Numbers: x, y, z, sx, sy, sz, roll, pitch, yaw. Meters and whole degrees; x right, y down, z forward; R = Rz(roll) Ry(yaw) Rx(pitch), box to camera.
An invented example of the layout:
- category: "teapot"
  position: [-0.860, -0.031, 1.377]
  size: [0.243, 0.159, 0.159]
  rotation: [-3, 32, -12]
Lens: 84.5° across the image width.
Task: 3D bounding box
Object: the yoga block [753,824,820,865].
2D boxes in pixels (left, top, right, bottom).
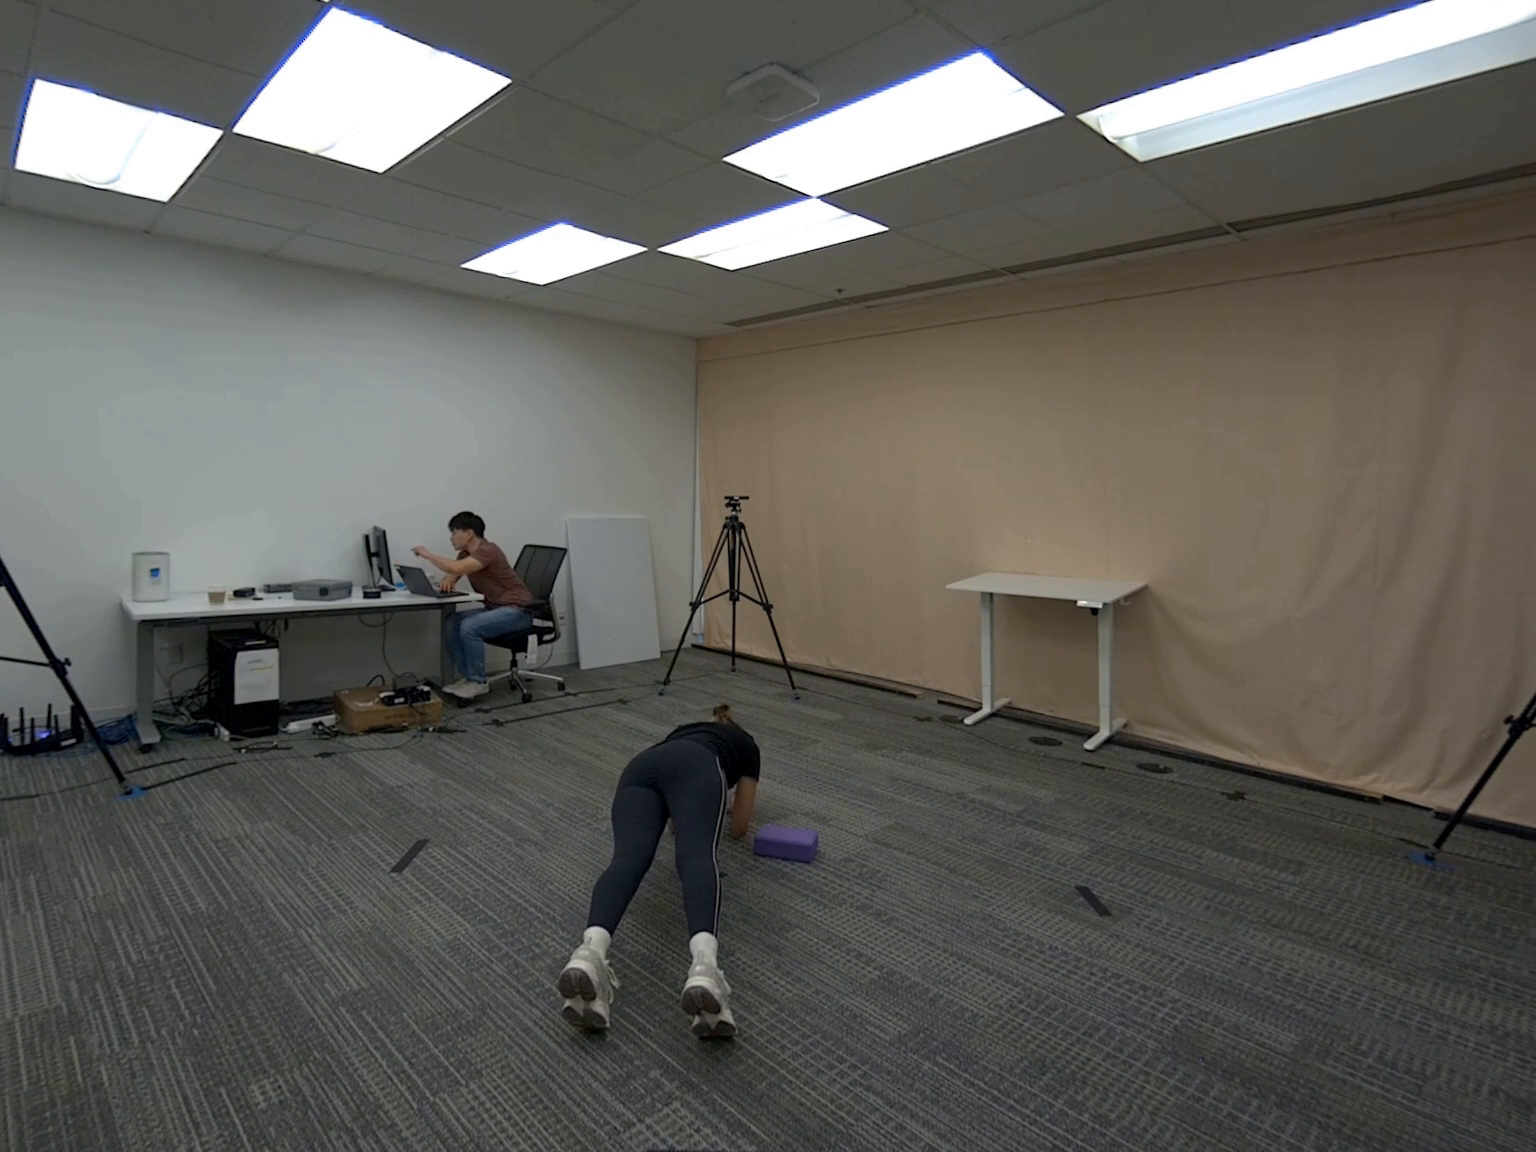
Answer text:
- category: "yoga block"
  position: [0.061, 1.050, 3.311]
  size: [0.232, 0.076, 0.147]
  rotation: [2, 5, 17]
